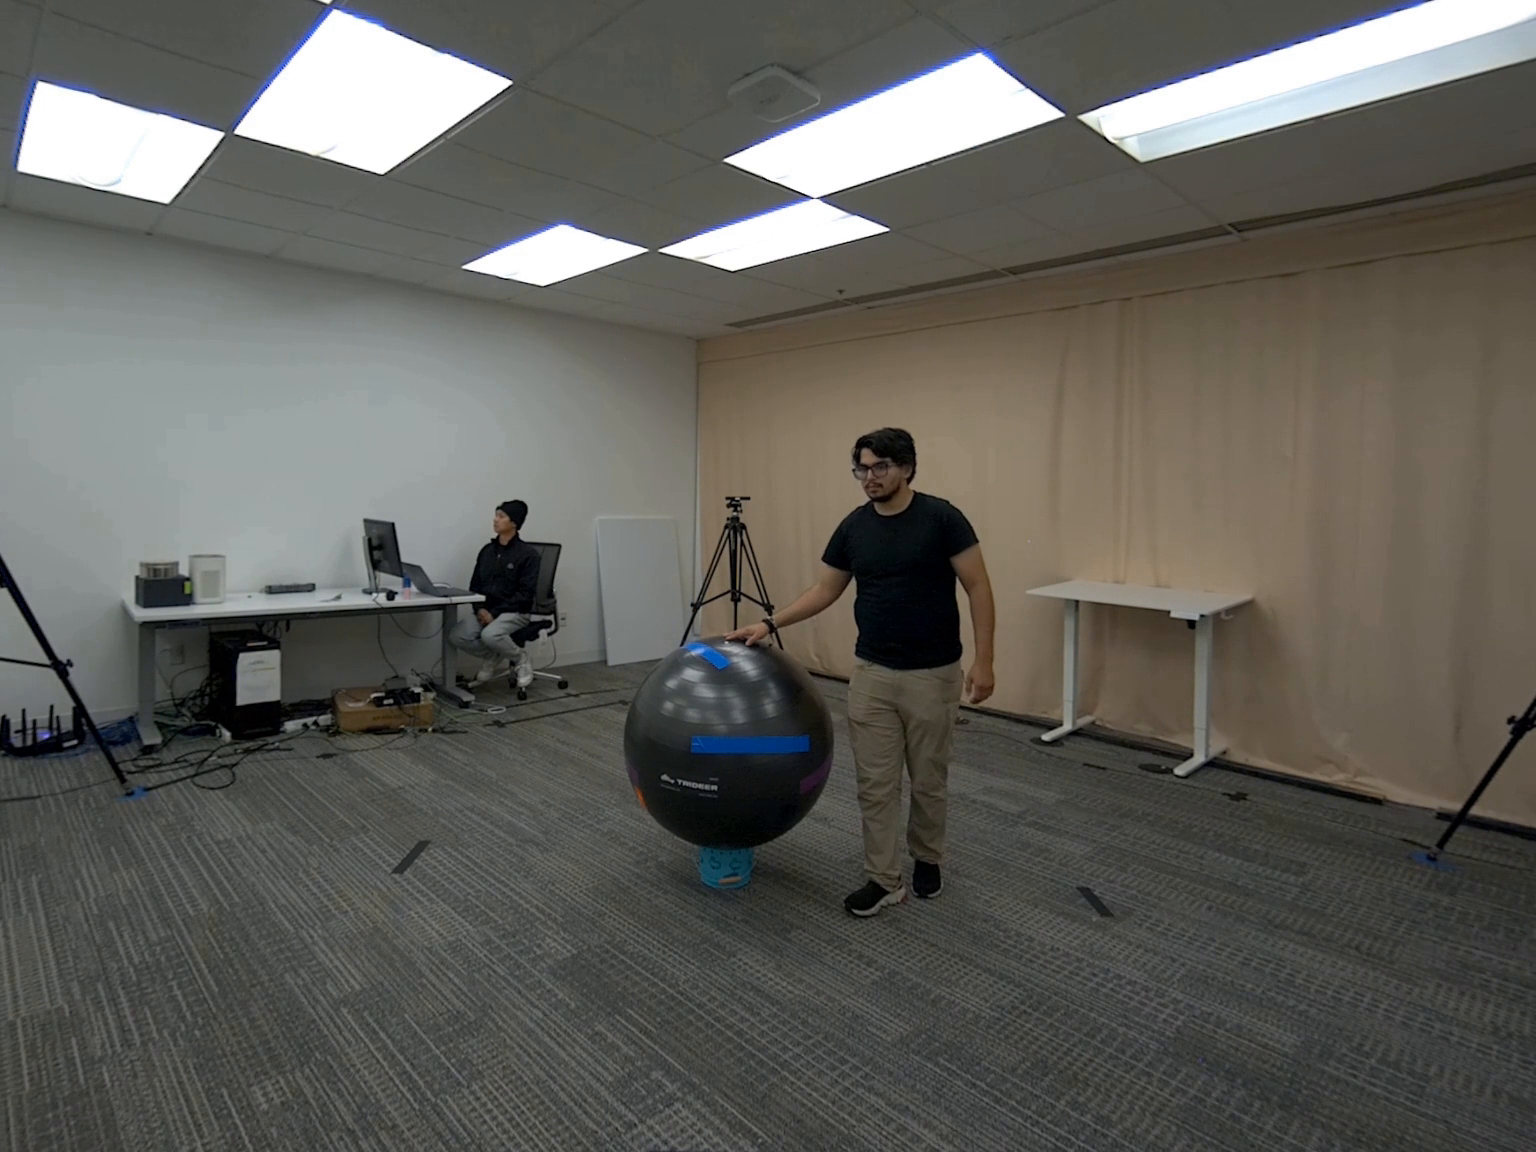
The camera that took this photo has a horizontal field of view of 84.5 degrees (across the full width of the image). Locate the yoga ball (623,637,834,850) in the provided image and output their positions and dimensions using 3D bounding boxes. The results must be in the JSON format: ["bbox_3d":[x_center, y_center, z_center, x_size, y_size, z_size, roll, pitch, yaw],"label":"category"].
[{"bbox_3d":[-0.144,0.602,3.054,0.757,0.756,0.760,1,4,-1],"label":"yoga ball"}]
